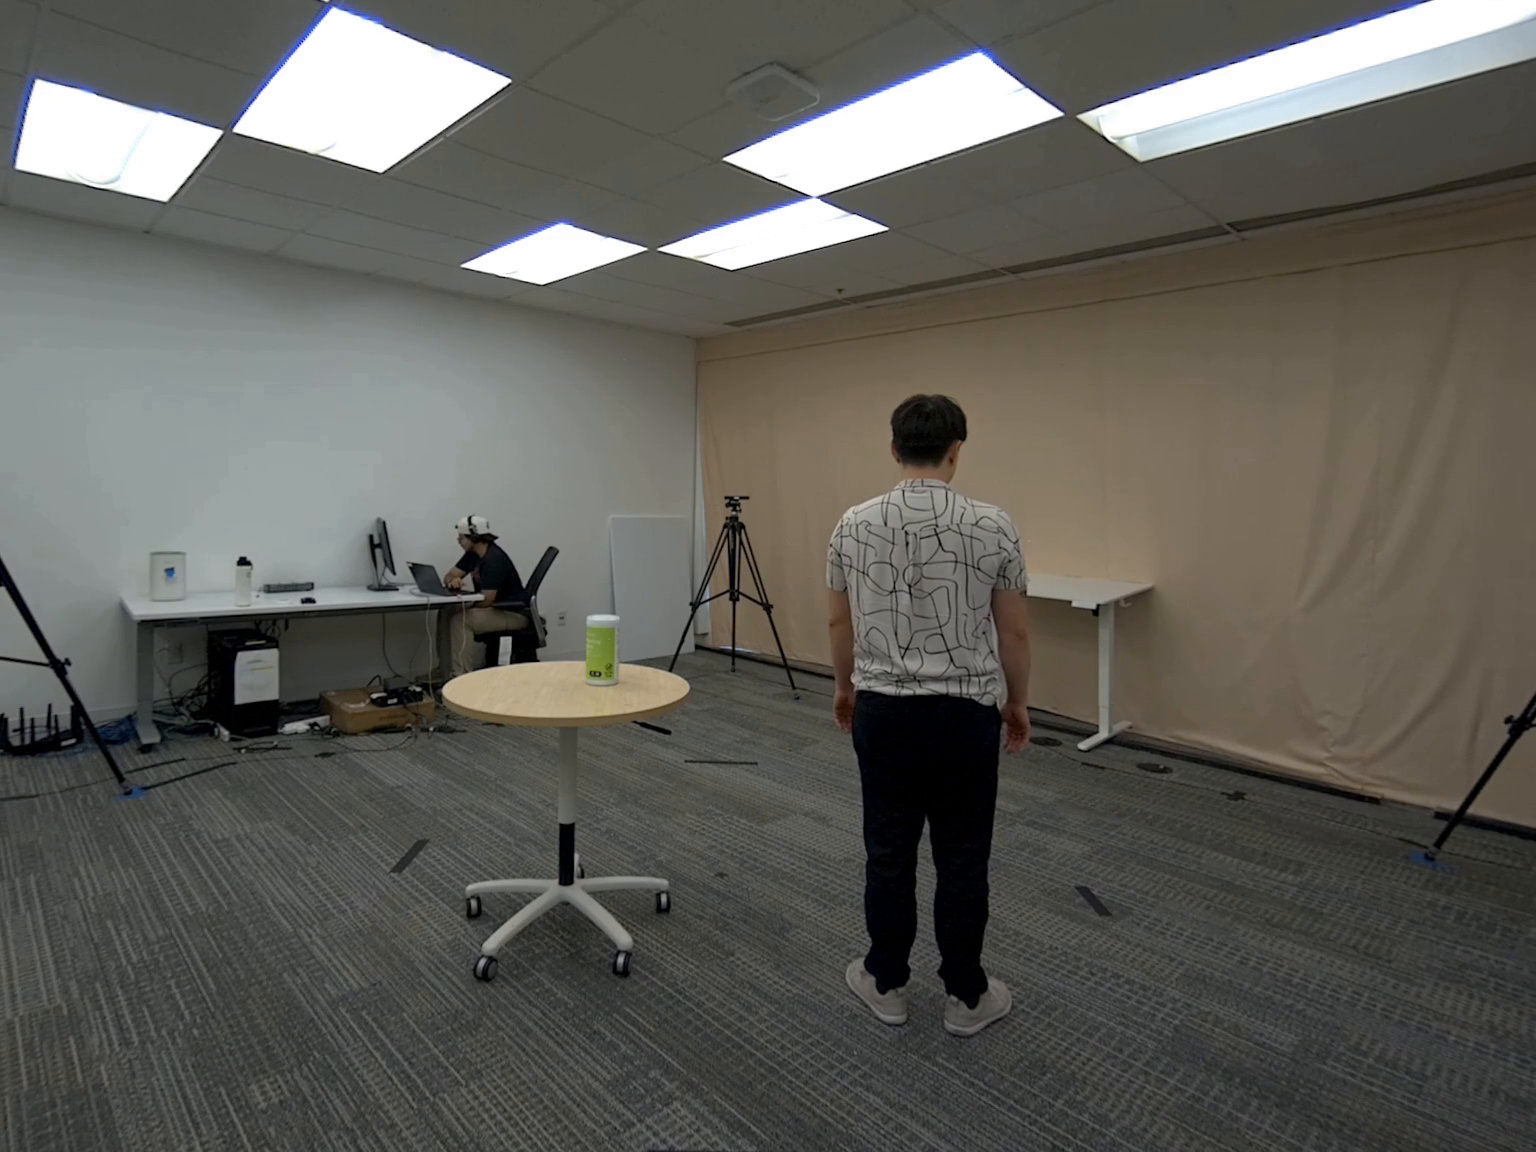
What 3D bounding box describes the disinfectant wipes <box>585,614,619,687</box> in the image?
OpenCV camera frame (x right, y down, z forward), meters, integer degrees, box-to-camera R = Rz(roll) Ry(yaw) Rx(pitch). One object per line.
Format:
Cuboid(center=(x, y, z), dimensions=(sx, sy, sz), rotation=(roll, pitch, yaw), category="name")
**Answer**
Cuboid(center=(-0.542, 0.240, 2.719), dimensions=(0.118, 0.217, 0.118), rotation=(2, 5, -2), category="disinfectant wipes")
